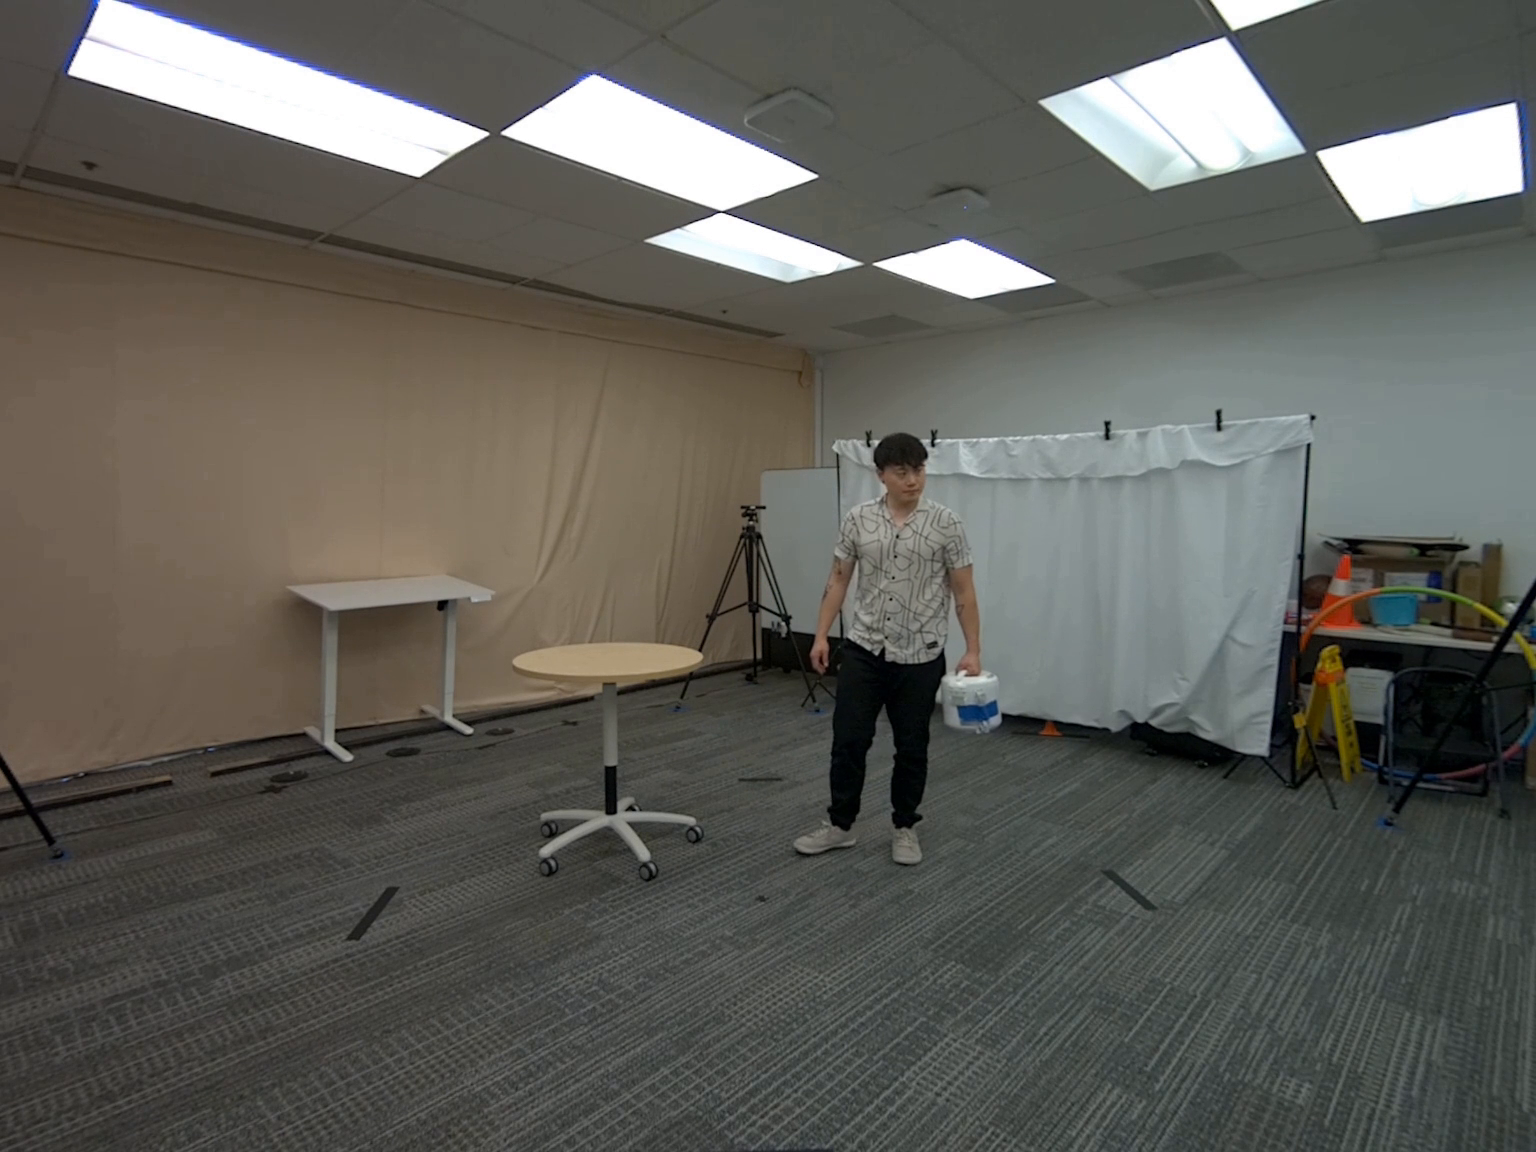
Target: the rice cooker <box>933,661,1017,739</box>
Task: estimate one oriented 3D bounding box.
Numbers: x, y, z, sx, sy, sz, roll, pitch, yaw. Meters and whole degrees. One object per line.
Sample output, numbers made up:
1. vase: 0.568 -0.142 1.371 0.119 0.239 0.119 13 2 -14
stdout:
1. rice cooker: 0.770 0.458 3.180 0.224 0.233 0.214 -3 1 41
